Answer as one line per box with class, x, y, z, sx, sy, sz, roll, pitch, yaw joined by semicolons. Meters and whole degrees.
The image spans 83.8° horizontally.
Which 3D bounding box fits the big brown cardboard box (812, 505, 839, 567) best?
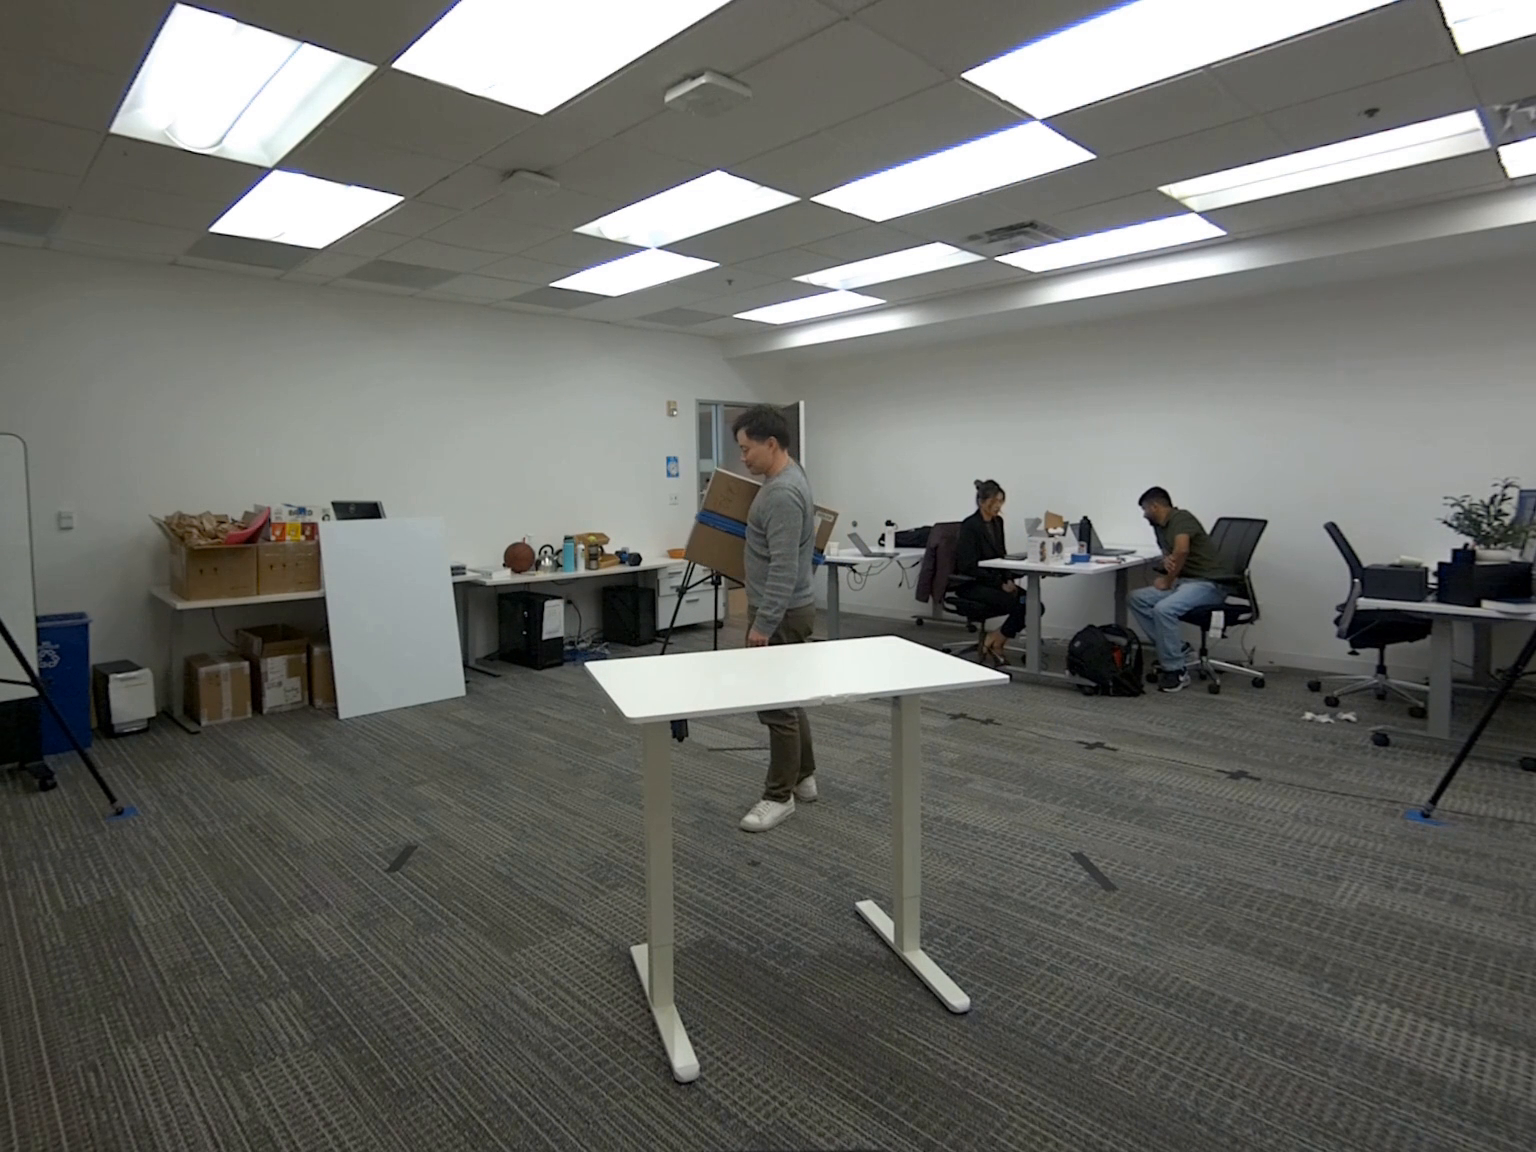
big brown cardboard box;-0.037;-0.183;3.785;0.587;0.416;0.235;19;5;-3
